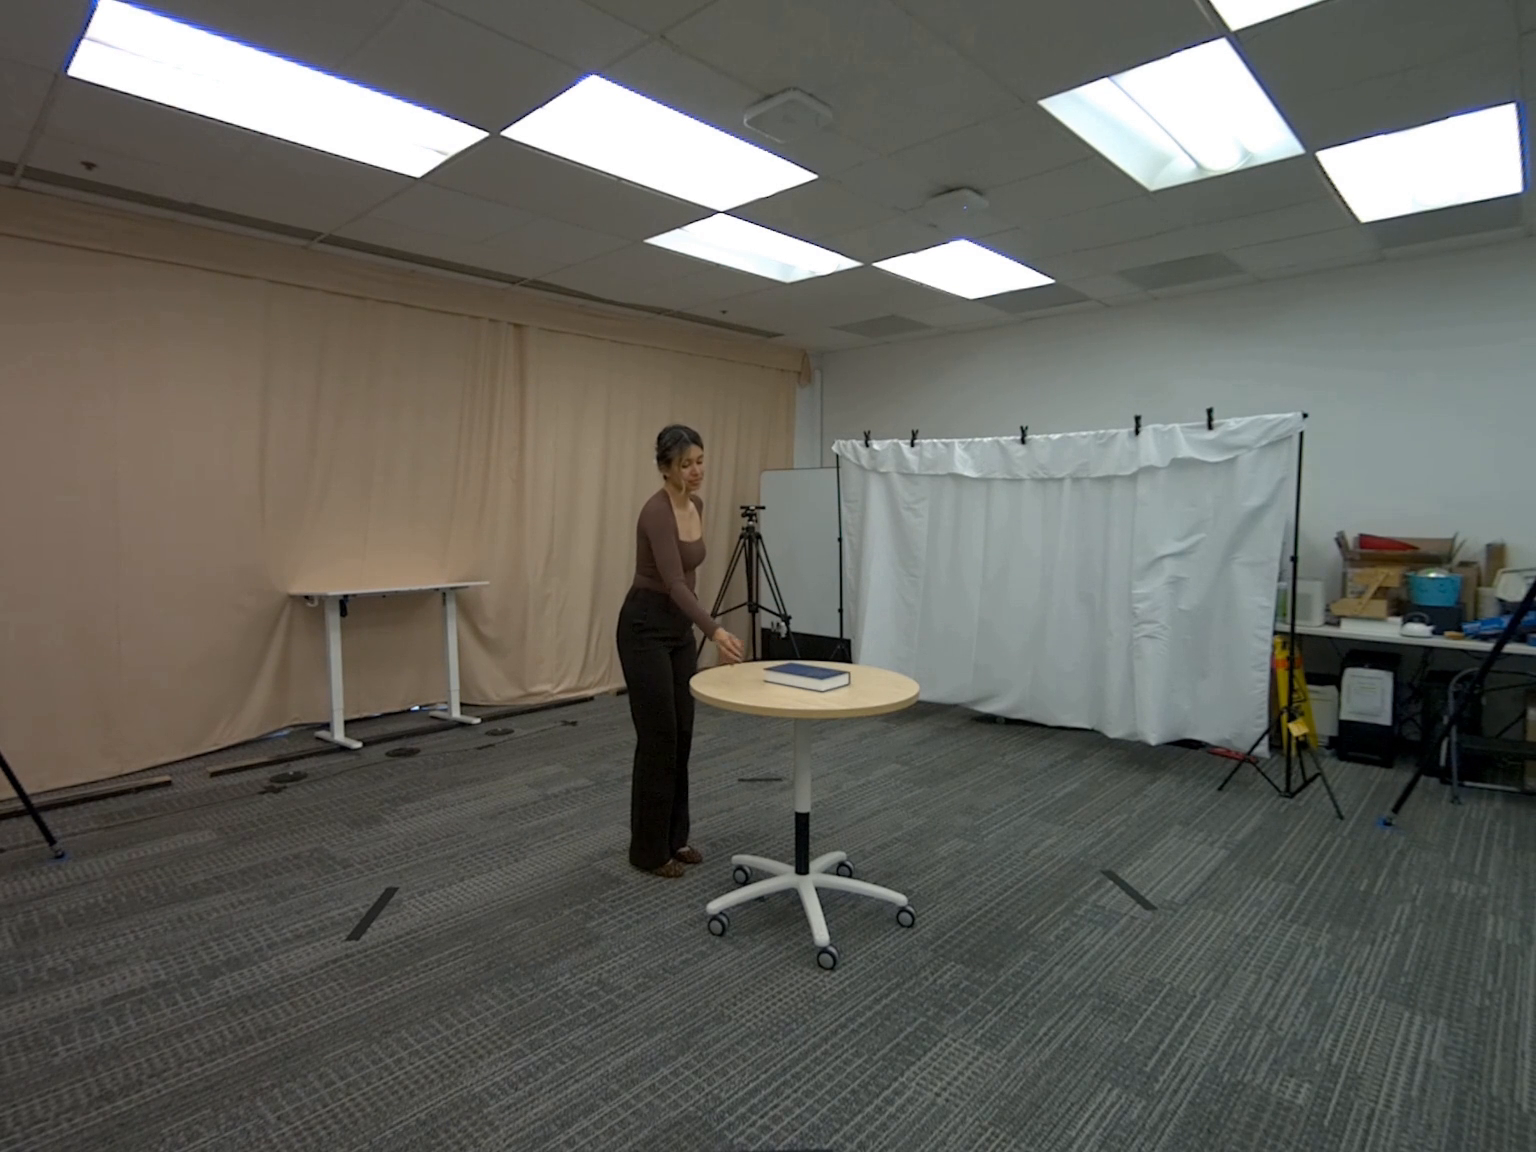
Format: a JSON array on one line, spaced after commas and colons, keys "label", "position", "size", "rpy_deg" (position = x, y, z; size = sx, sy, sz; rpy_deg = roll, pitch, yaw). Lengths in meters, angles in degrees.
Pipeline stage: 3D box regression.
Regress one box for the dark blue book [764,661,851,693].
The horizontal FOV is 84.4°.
[{"label": "dark blue book", "position": [0.132, 0.339, 2.818], "size": [0.253, 0.045, 0.158], "rpy_deg": [5, 7, 39]}]
